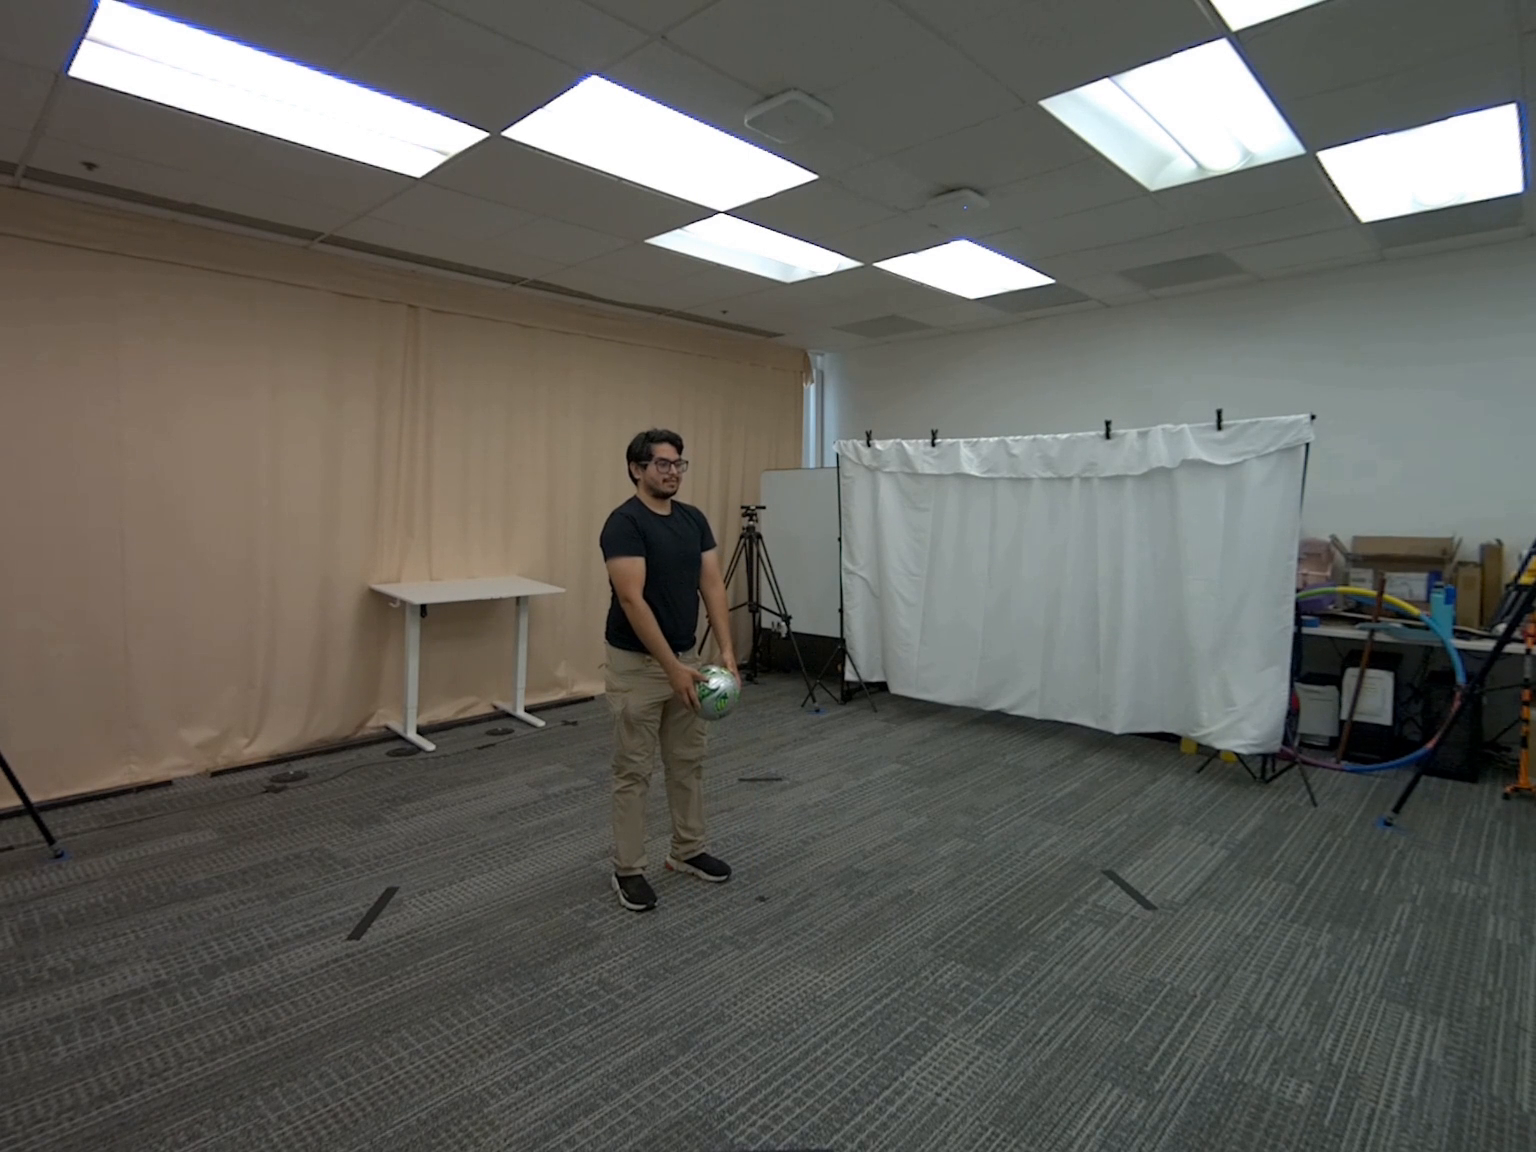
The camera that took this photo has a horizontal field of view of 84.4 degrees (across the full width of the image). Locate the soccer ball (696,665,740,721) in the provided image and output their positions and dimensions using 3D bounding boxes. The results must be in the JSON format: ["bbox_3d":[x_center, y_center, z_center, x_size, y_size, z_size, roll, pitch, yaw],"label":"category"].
[{"bbox_3d":[-0.192,0.396,2.858,0.187,0.187,0.188,0,4,-2],"label":"soccer ball"}]
